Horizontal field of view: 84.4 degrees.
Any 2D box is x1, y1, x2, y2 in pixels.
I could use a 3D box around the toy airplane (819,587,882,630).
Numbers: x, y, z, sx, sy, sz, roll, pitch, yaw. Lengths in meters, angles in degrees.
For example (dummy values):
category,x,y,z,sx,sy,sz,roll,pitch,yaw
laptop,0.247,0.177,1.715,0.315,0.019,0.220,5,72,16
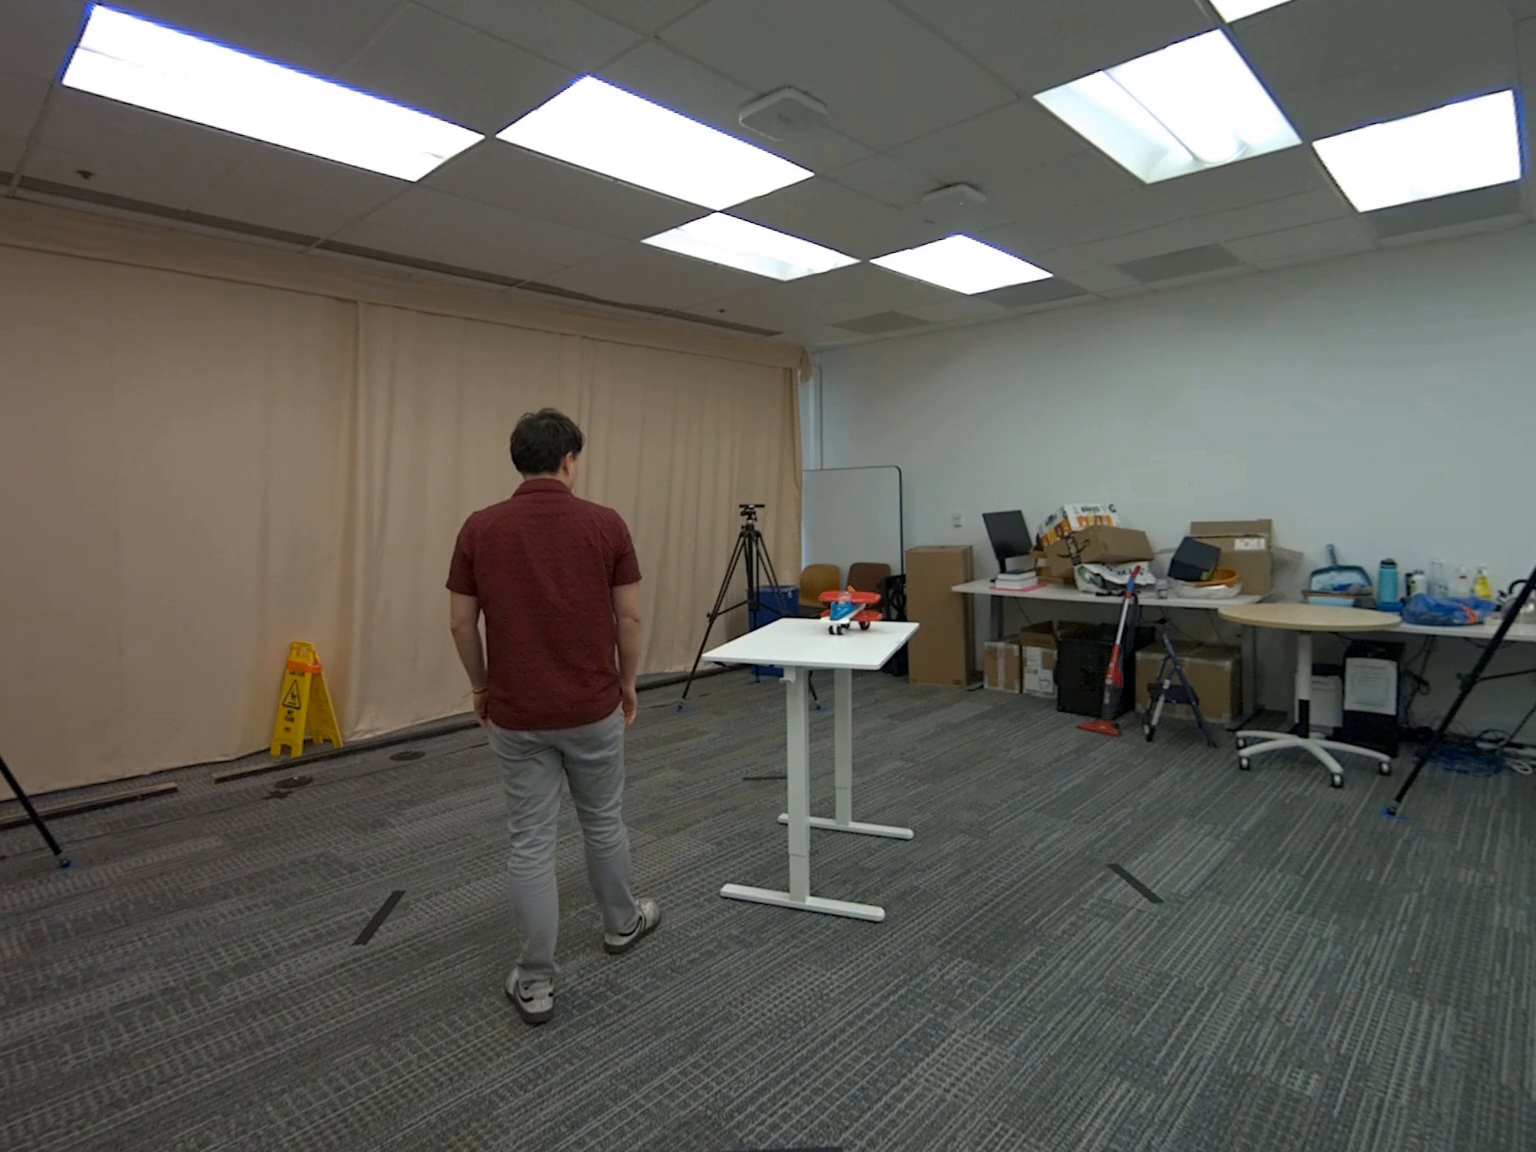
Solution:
category,x,y,z,sx,sy,sz,roll,pitch,yaw
toy airplane,0.331,0.148,3.341,0.252,0.156,0.258,1,4,4
